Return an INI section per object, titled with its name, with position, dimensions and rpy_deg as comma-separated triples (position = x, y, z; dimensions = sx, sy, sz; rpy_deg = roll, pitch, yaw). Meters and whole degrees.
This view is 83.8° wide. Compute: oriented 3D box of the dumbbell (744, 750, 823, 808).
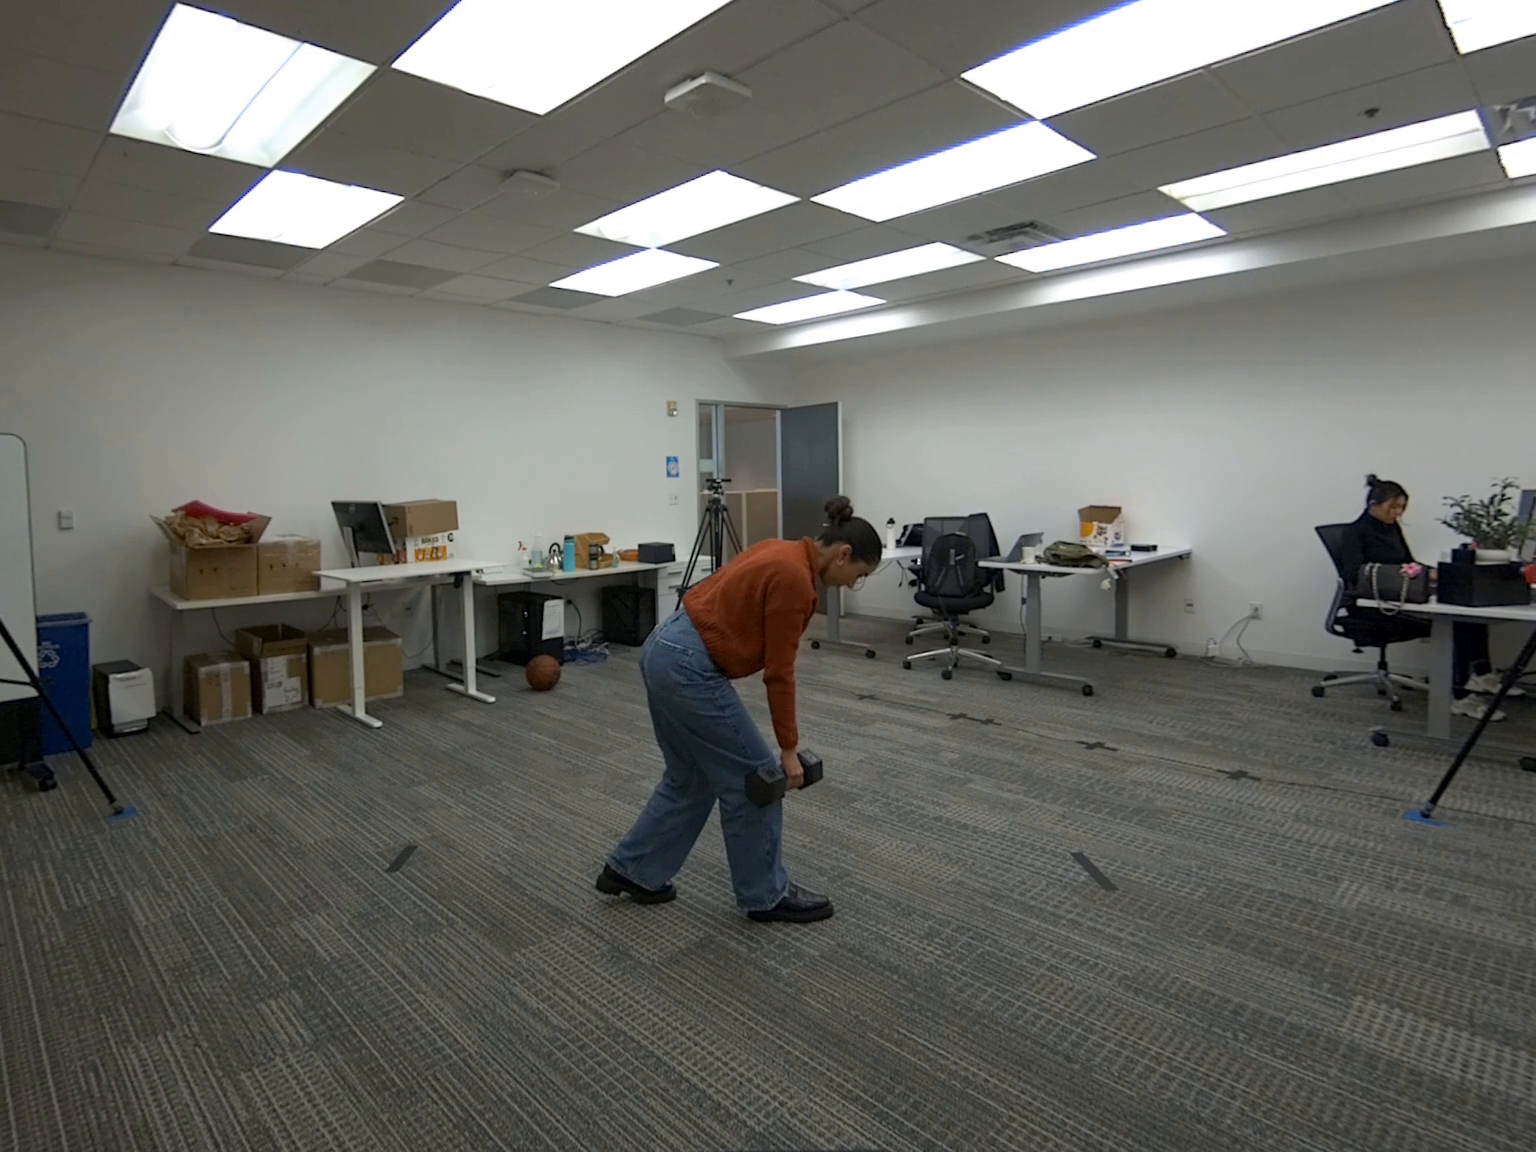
[dumbbell]
position = 0.056, 0.627, 2.641
dimensions = 0.112, 0.123, 0.286
rpy_deg = -2, 4, 39
